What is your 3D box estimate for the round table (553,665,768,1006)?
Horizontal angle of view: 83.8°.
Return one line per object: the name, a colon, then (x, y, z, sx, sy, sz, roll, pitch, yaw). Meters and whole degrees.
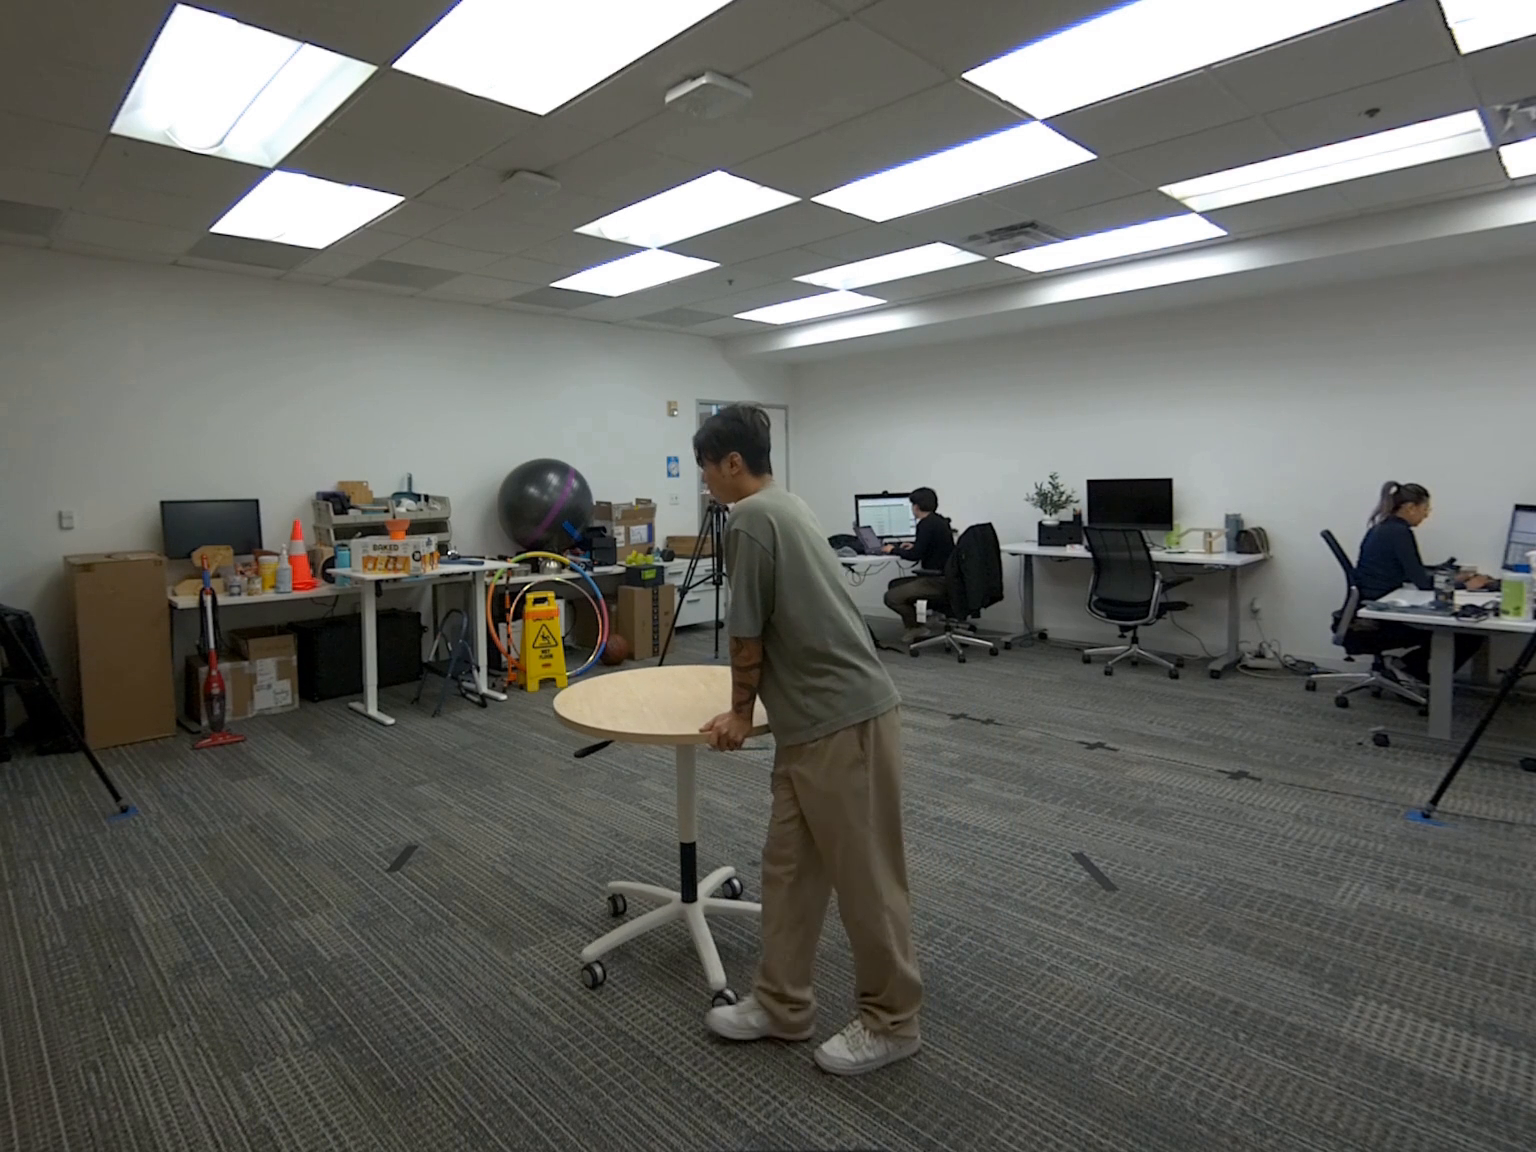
round table: (-0.225, 0.729, 2.564, 0.784, 0.783, 0.790, -1, 6, -2)
